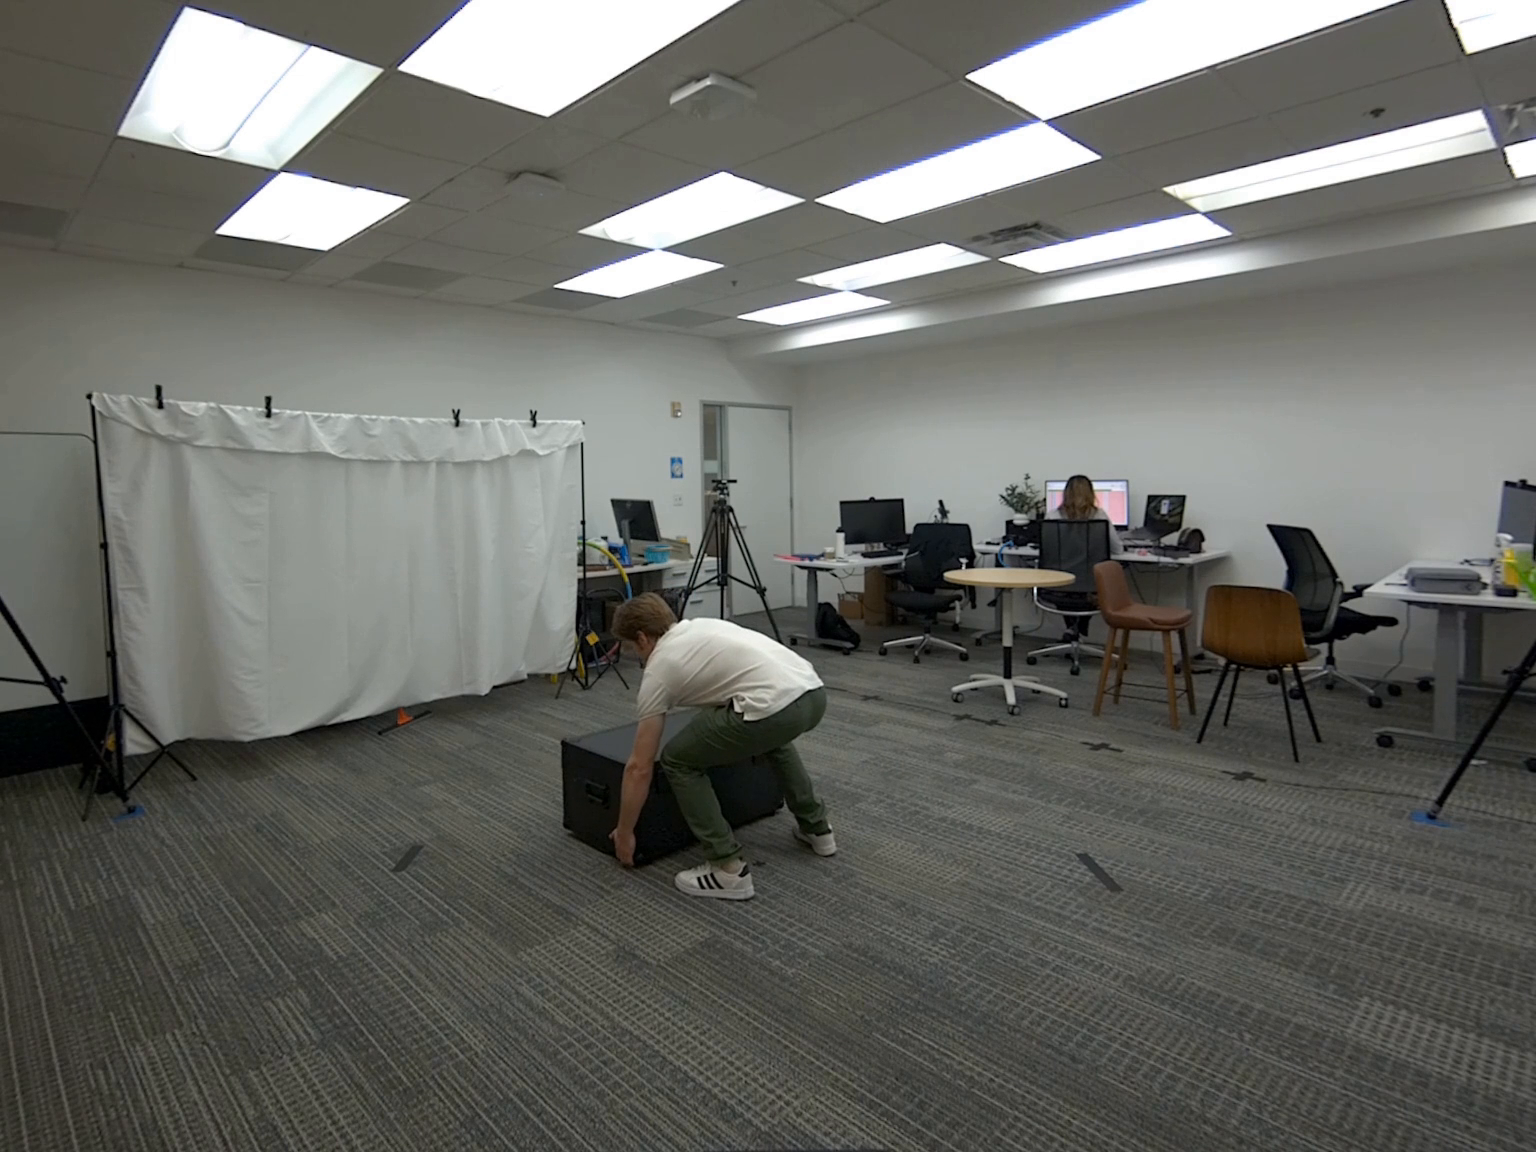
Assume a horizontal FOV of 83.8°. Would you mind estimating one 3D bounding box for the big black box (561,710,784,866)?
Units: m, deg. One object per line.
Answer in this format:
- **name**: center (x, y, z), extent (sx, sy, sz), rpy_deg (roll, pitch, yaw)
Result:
- **big black box**: center (-0.345, 0.815, 3.509), extent (0.845, 0.384, 0.539), rpy_deg (-6, 6, -44)
